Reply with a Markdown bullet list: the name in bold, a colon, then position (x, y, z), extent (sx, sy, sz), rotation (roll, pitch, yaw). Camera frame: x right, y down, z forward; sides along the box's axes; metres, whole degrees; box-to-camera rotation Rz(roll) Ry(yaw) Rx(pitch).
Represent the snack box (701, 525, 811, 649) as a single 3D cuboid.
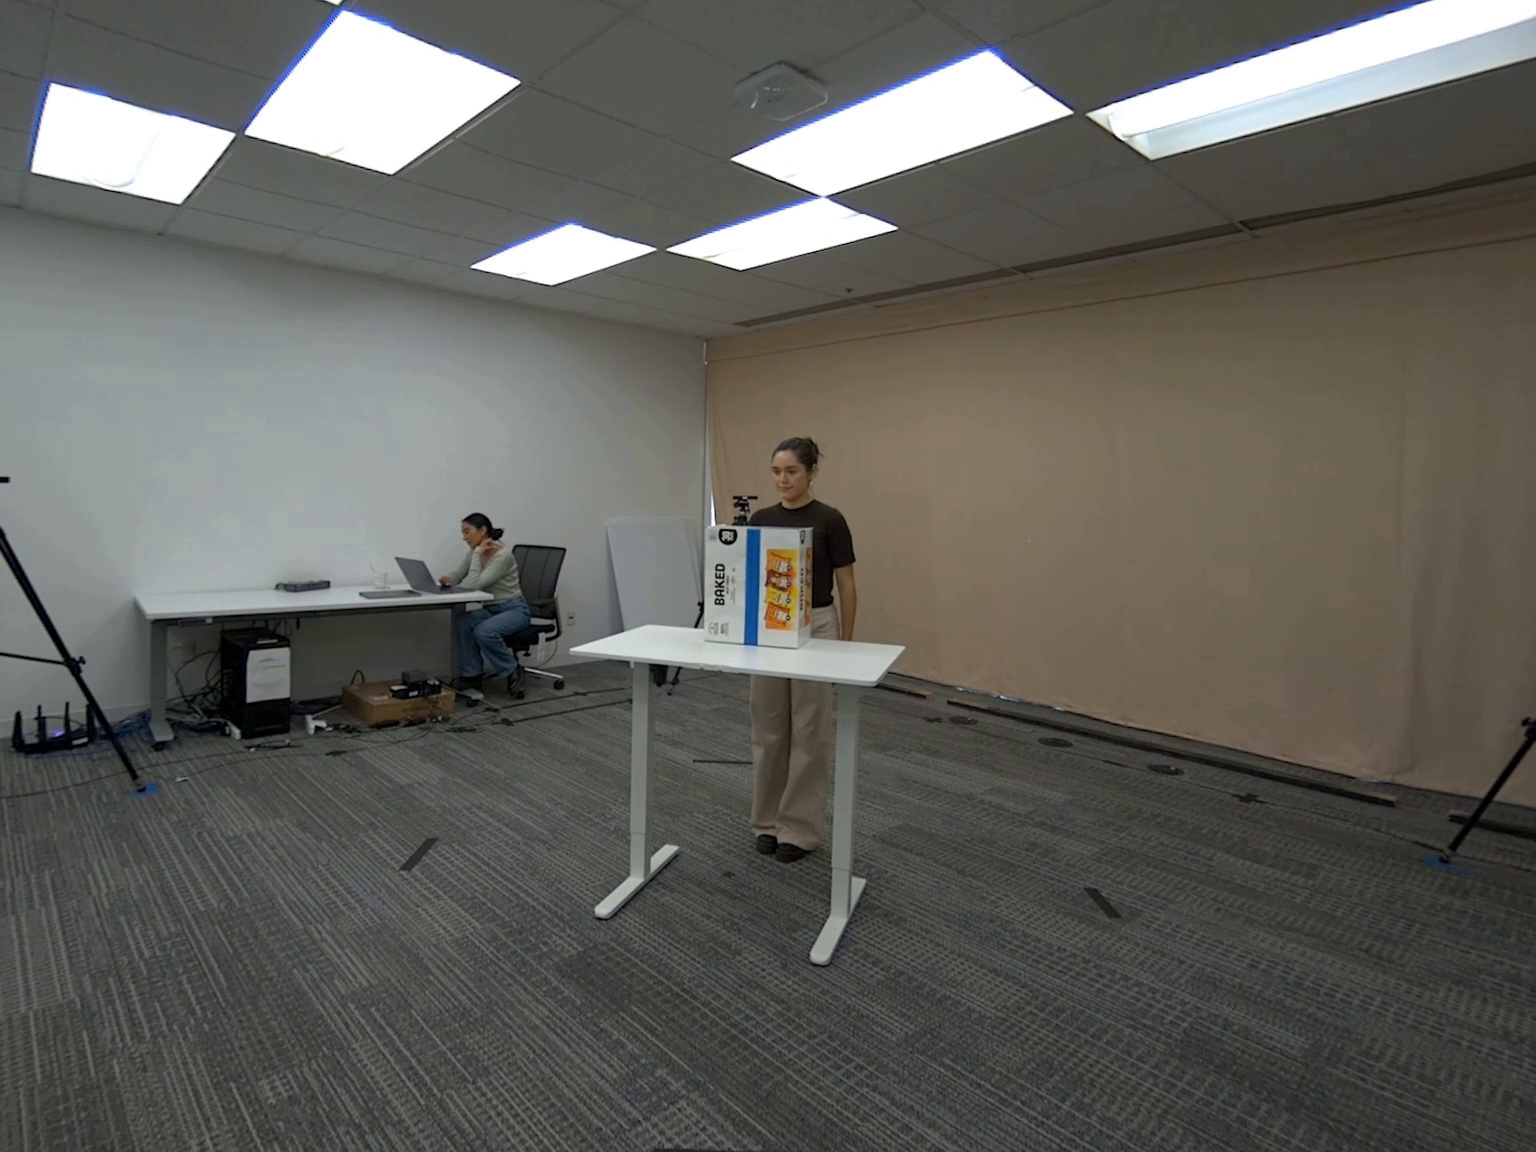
- **snack box**: position (-0.038, 0.030, 2.987), extent (0.345, 0.404, 0.203), rotation (3, 4, 18)
